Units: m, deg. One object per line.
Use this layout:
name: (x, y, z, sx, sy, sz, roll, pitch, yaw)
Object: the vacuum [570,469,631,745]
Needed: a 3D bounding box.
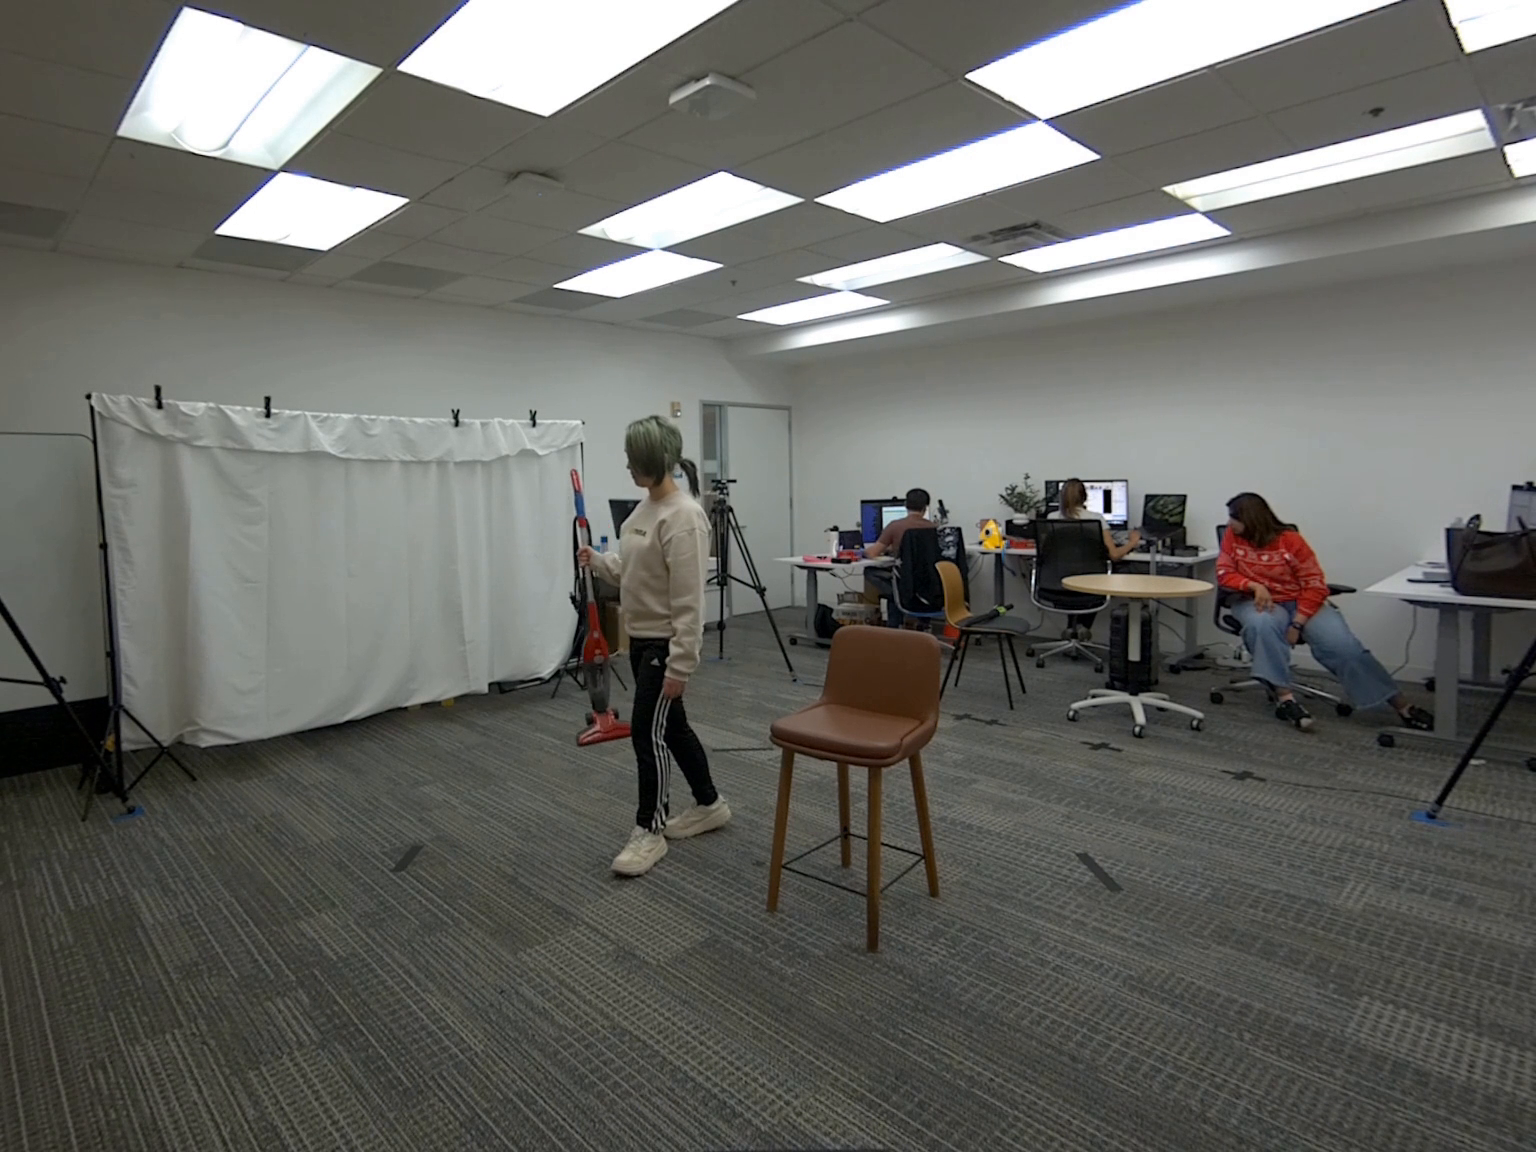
vacuum: (-0.736, 0.093, 3.478, 0.248, 1.049, 0.147, -7, 0, -24)
